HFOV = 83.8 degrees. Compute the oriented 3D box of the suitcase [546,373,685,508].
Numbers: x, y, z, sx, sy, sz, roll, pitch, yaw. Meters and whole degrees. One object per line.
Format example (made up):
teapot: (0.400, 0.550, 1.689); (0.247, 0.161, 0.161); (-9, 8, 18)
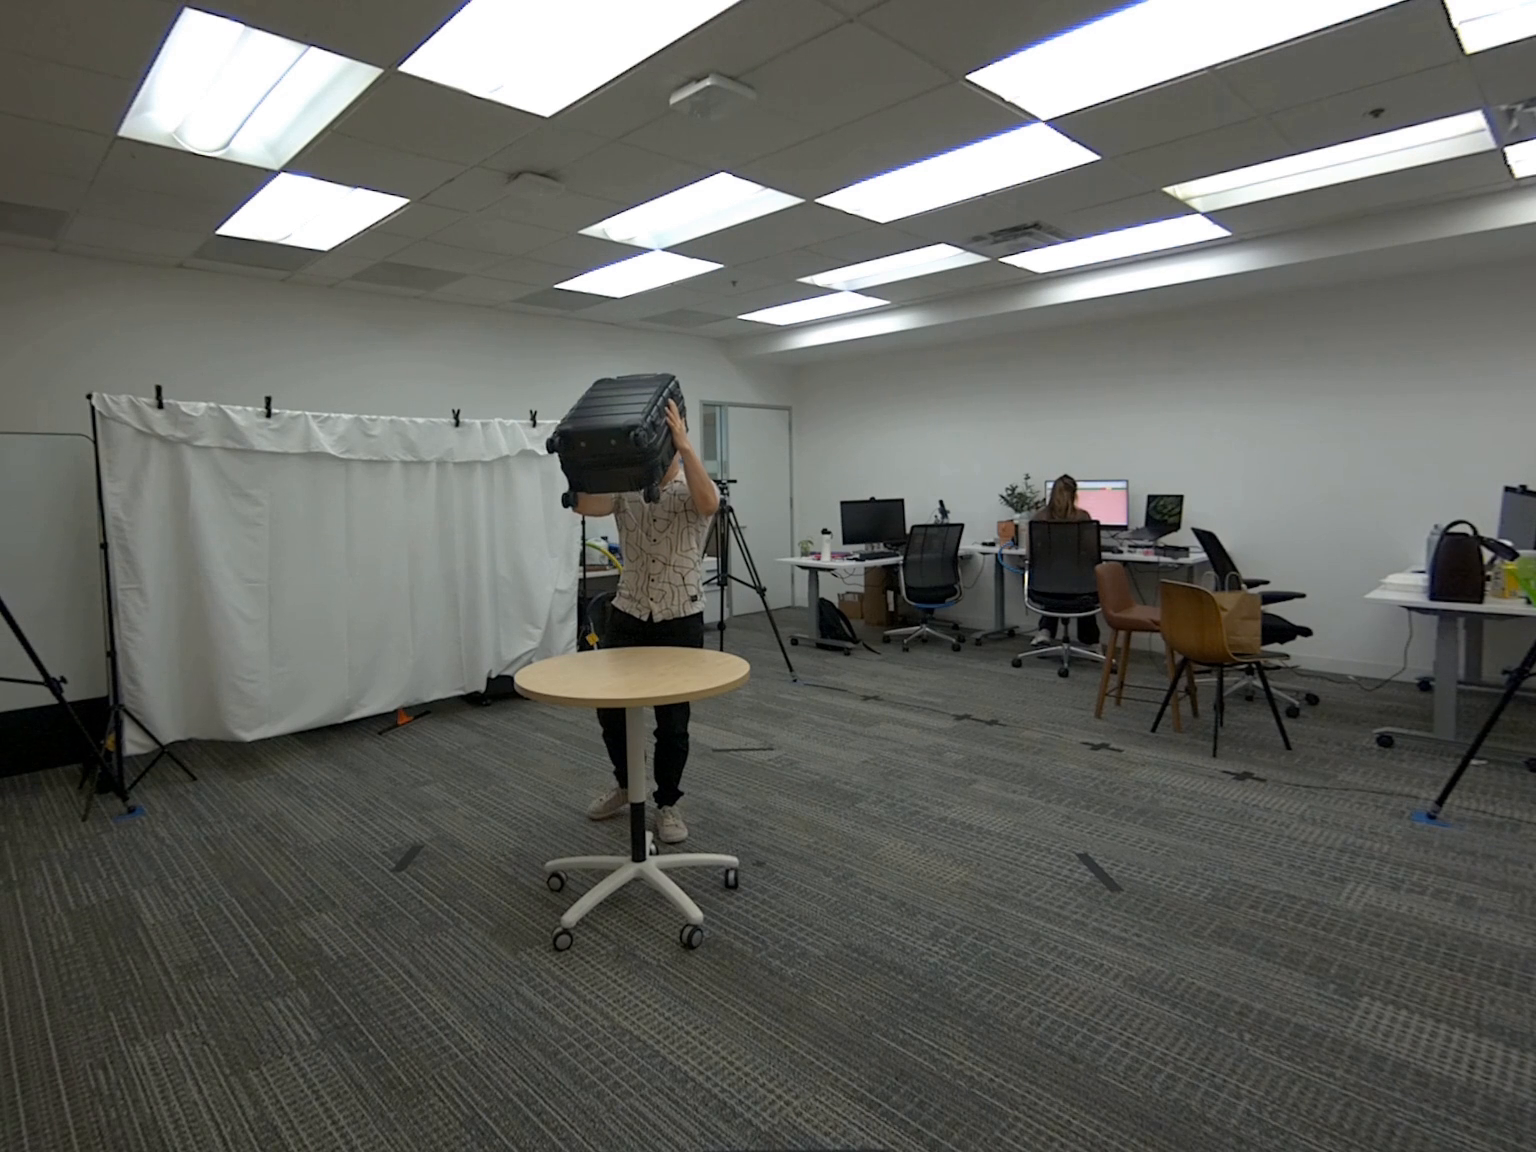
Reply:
suitcase: (-0.508, -0.509, 2.992); (0.380, 0.241, 0.558); (0, 33, 11)
